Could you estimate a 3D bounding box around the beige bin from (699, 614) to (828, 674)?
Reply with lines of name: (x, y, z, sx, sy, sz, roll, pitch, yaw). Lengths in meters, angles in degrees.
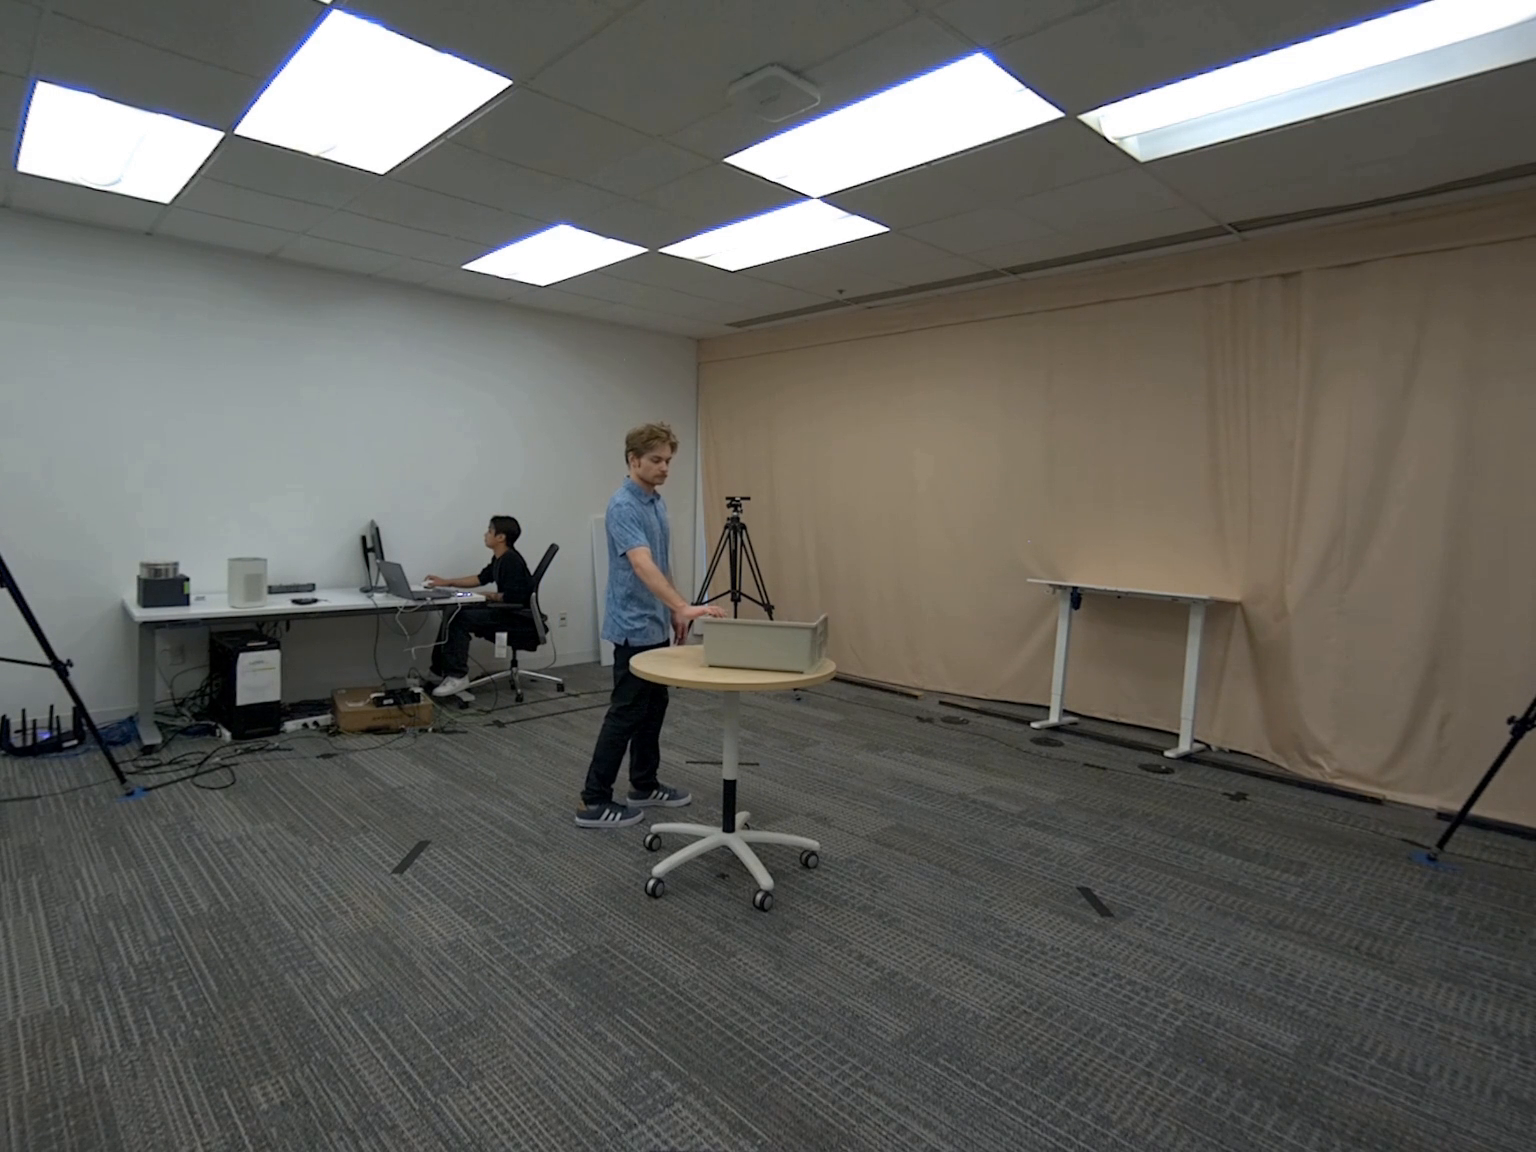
beige bin: (-0.013, 0.230, 3.133, 0.427, 0.188, 0.375, 2, 6, 12)
